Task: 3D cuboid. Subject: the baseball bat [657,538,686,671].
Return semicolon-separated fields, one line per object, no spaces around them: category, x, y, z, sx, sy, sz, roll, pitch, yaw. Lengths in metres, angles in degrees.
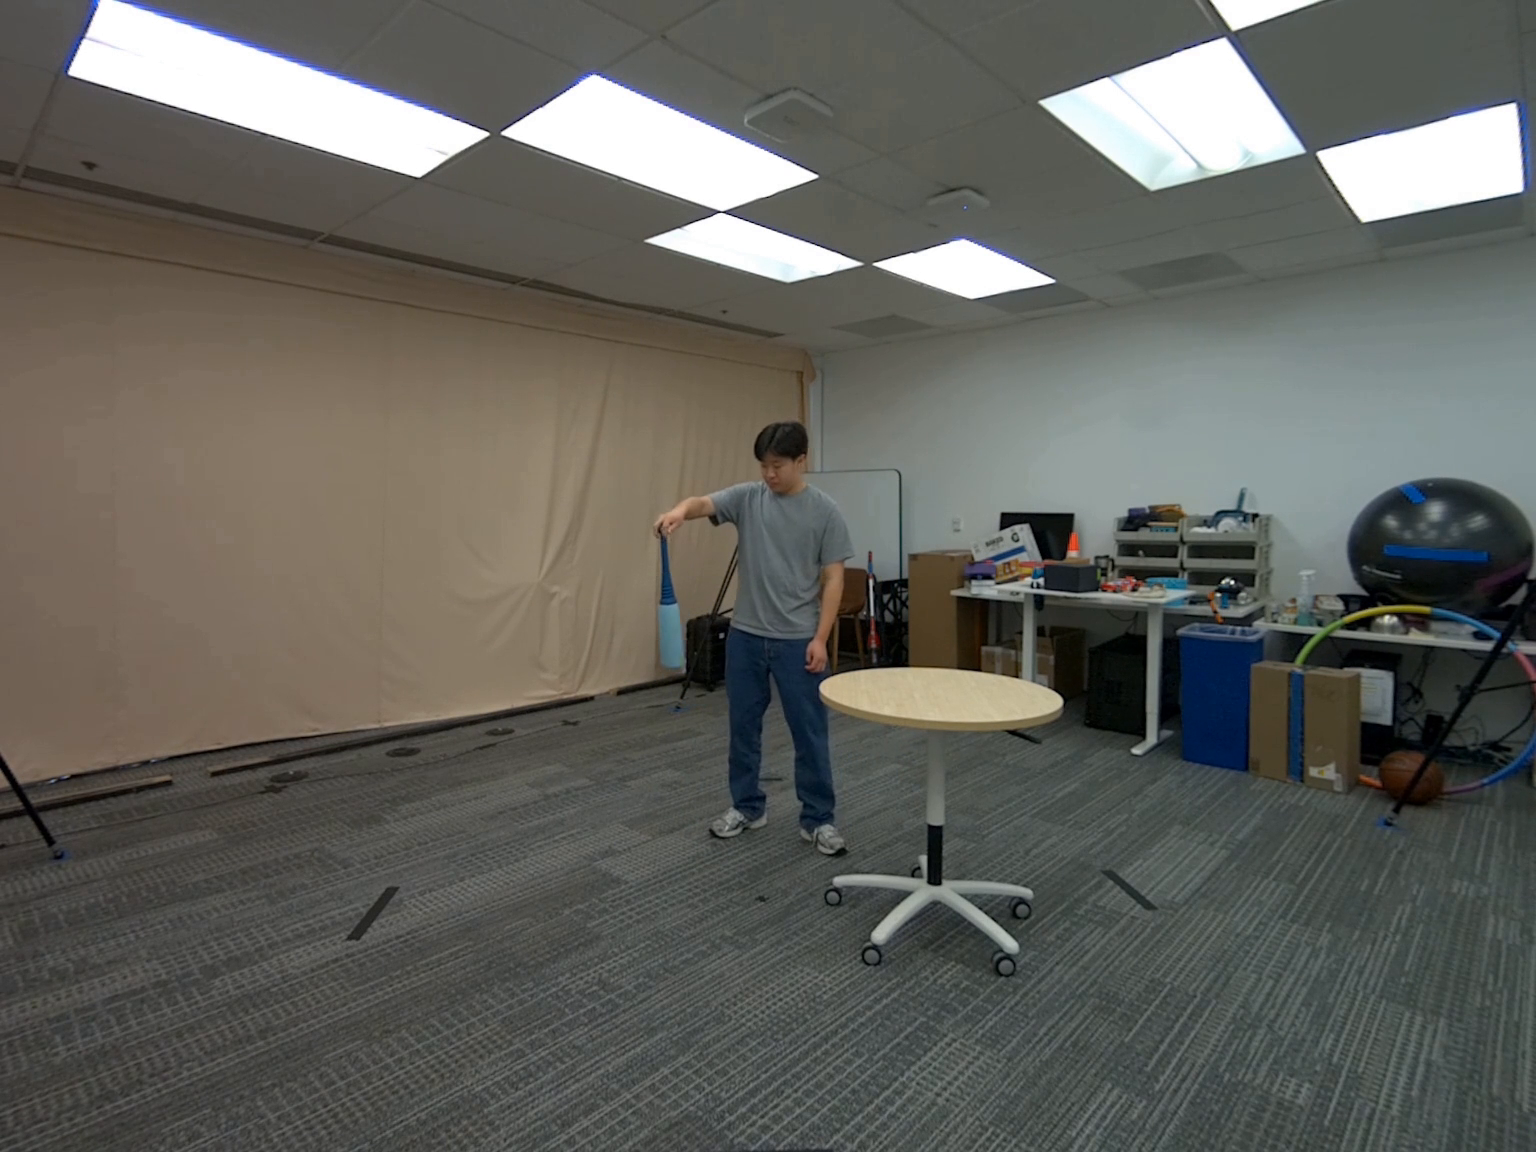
baseball bat;-0.377;0.083;3.149;0.089;0.539;0.090;-4;9;-1
